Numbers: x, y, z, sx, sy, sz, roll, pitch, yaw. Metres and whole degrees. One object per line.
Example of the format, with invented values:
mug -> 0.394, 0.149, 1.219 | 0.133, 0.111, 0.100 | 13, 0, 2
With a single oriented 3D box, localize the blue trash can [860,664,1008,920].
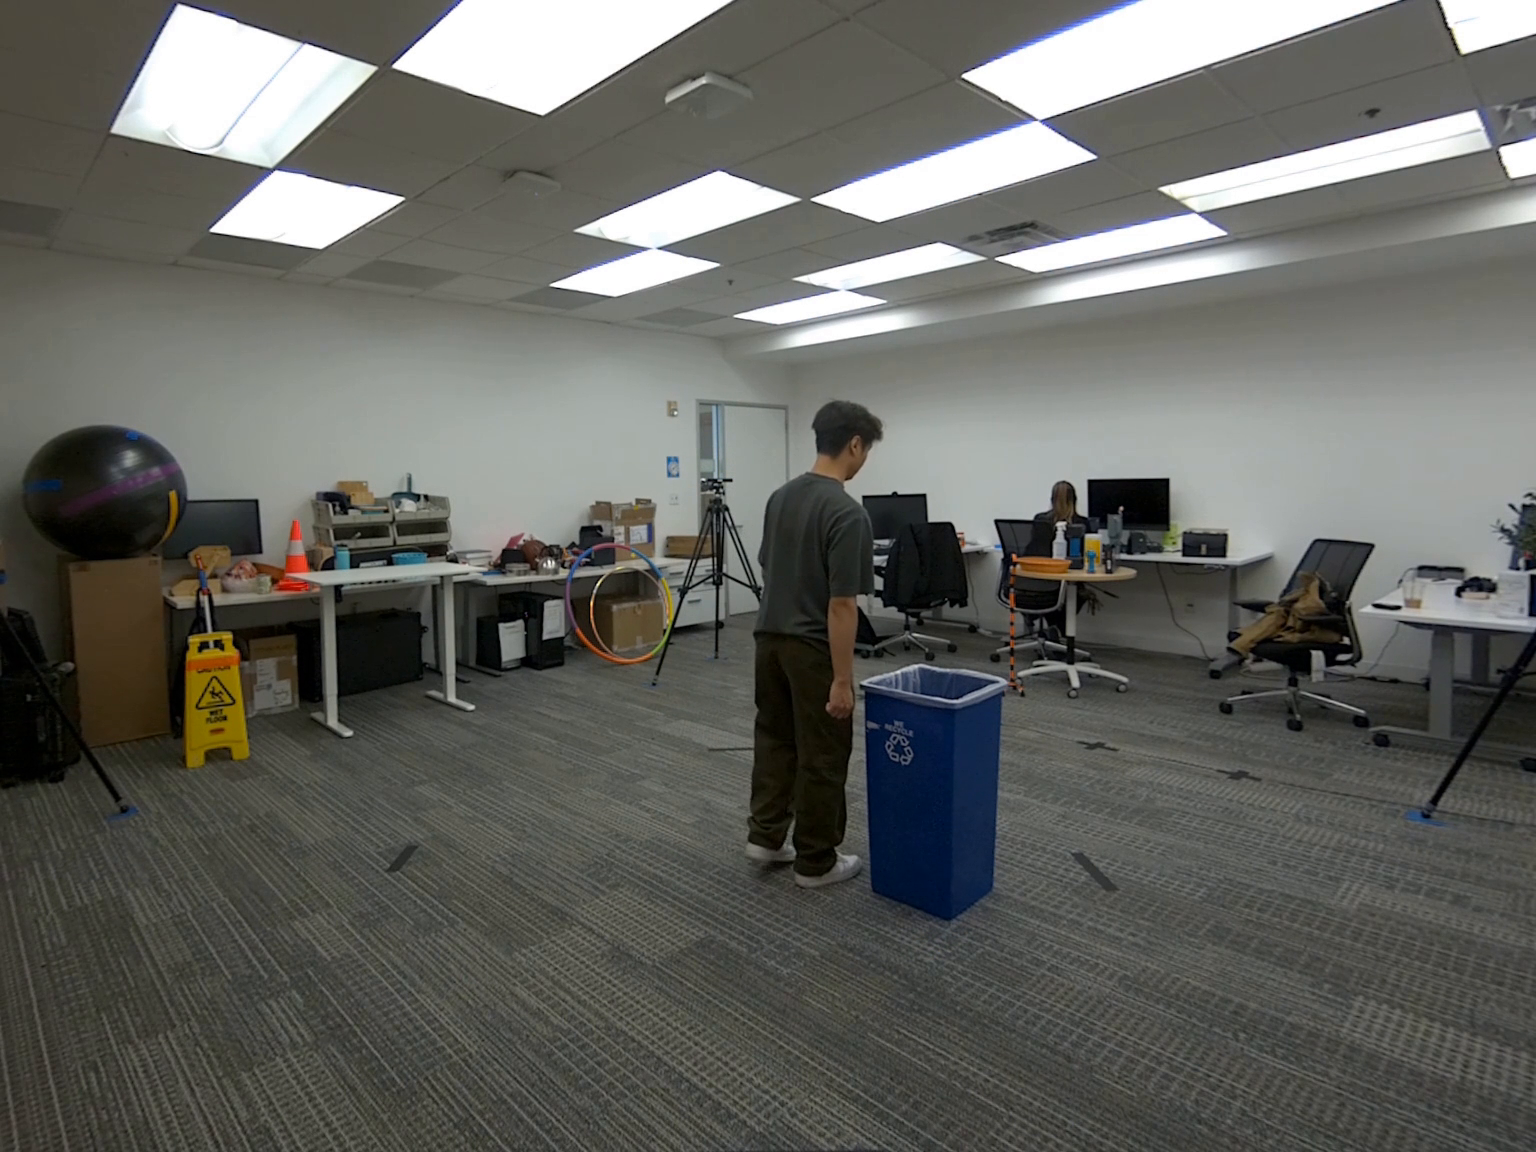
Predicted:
blue trash can -> 0.554, 0.702, 2.863 | 0.389, 0.710, 0.364 | 3, 7, 41
